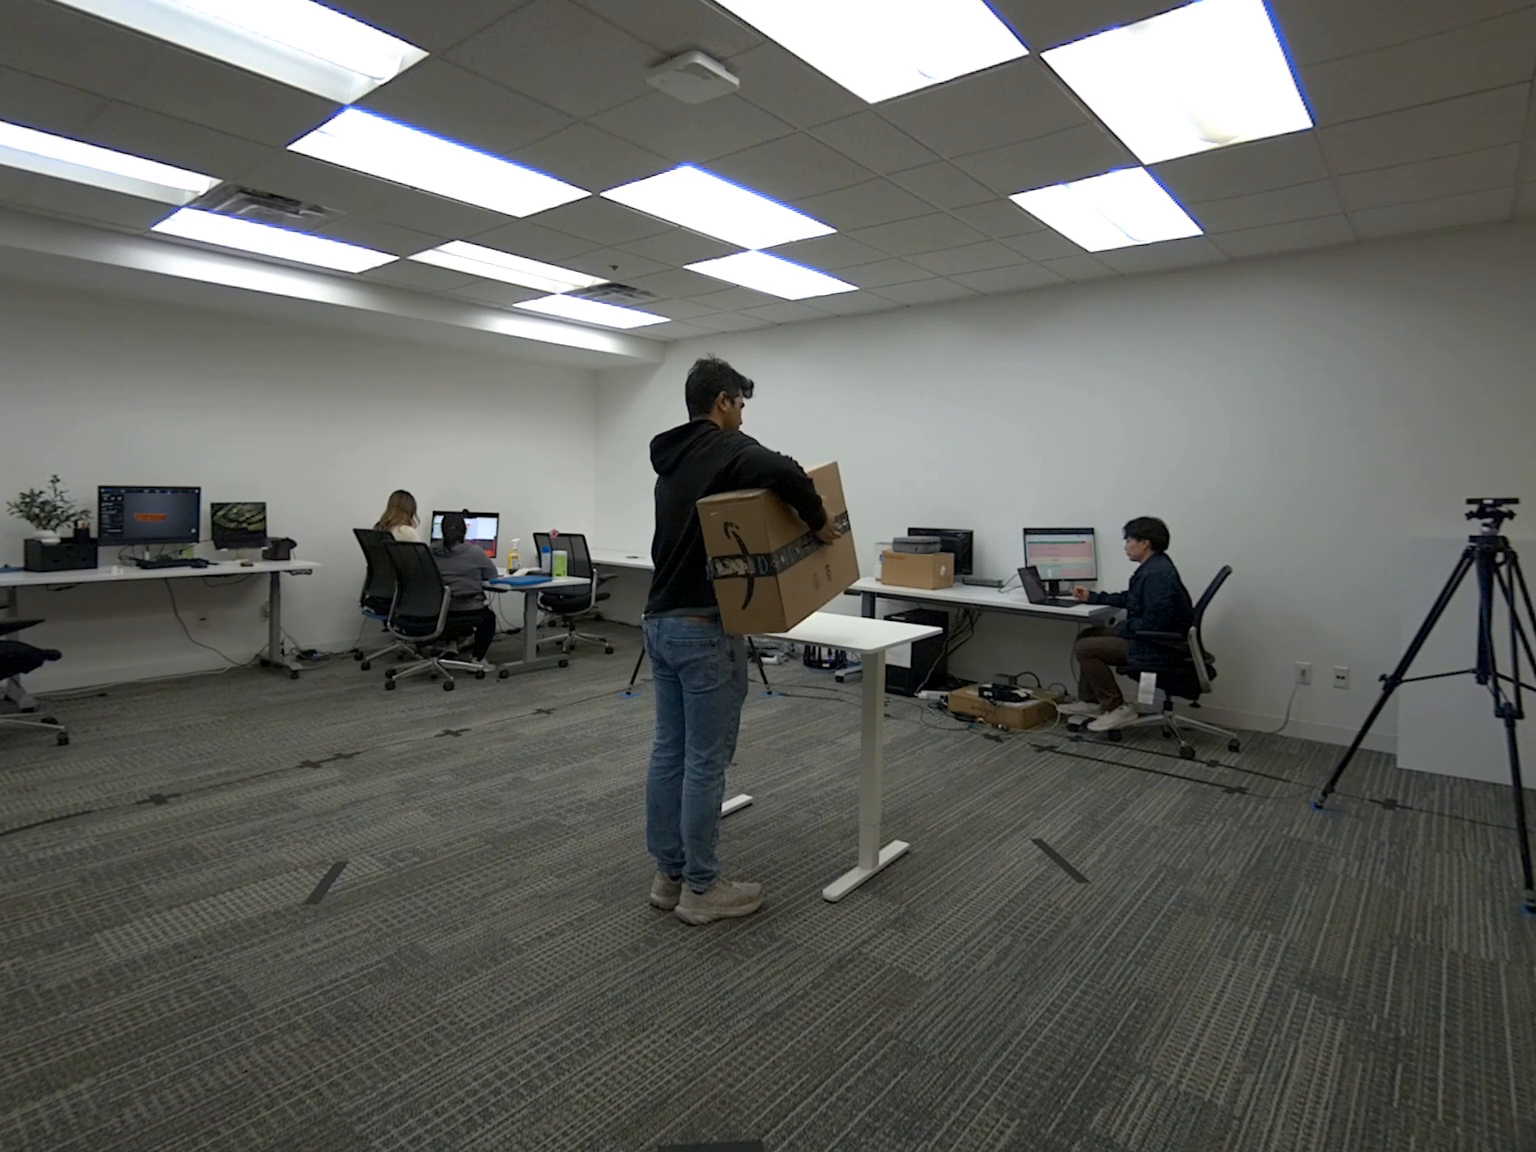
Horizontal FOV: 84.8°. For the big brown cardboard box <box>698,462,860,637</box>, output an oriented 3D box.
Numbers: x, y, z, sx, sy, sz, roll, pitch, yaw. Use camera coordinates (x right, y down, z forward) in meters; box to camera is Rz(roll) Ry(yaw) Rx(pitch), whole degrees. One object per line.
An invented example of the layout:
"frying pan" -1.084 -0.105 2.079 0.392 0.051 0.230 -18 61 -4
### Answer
"big brown cardboard box" 0.042 -0.100 2.690 0.239 0.413 0.580 -6 12 32
